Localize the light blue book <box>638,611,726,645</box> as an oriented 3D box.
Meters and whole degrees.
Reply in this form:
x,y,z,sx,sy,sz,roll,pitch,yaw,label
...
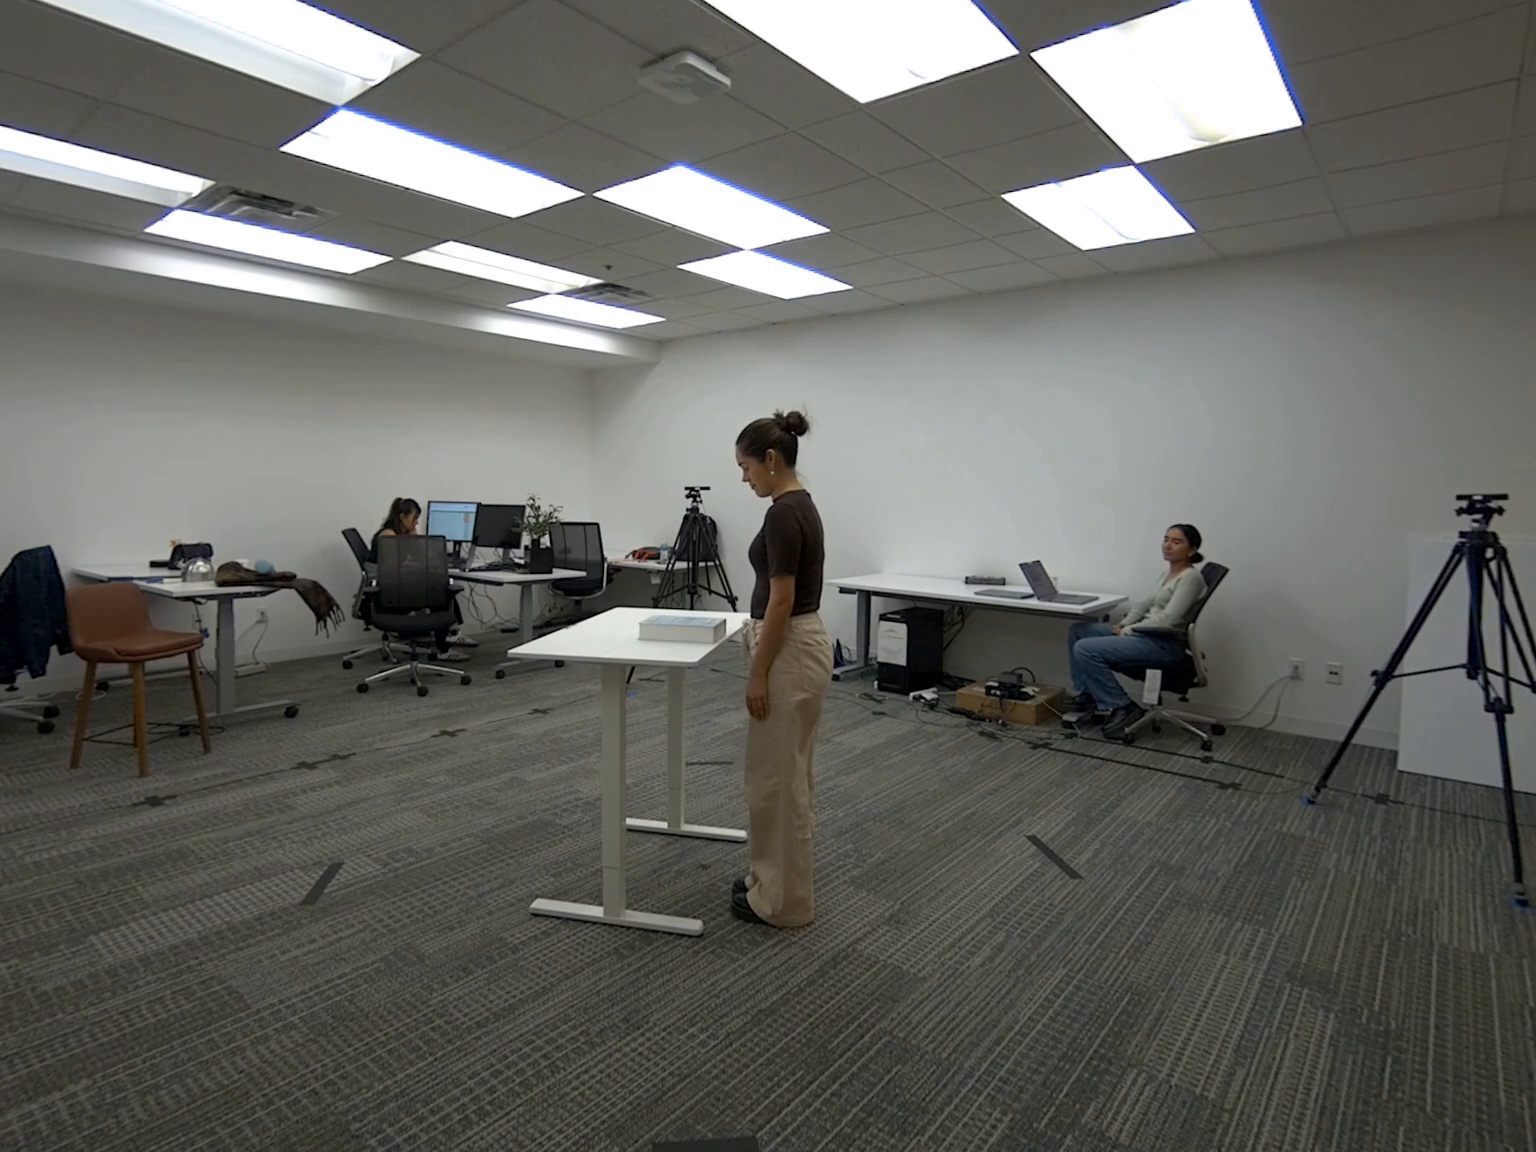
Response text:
x,y,z,sx,sy,sz,roll,pitch,yaw,label
-0.299,0.177,2.870,0.265,0.059,0.190,2,6,12,light blue book
